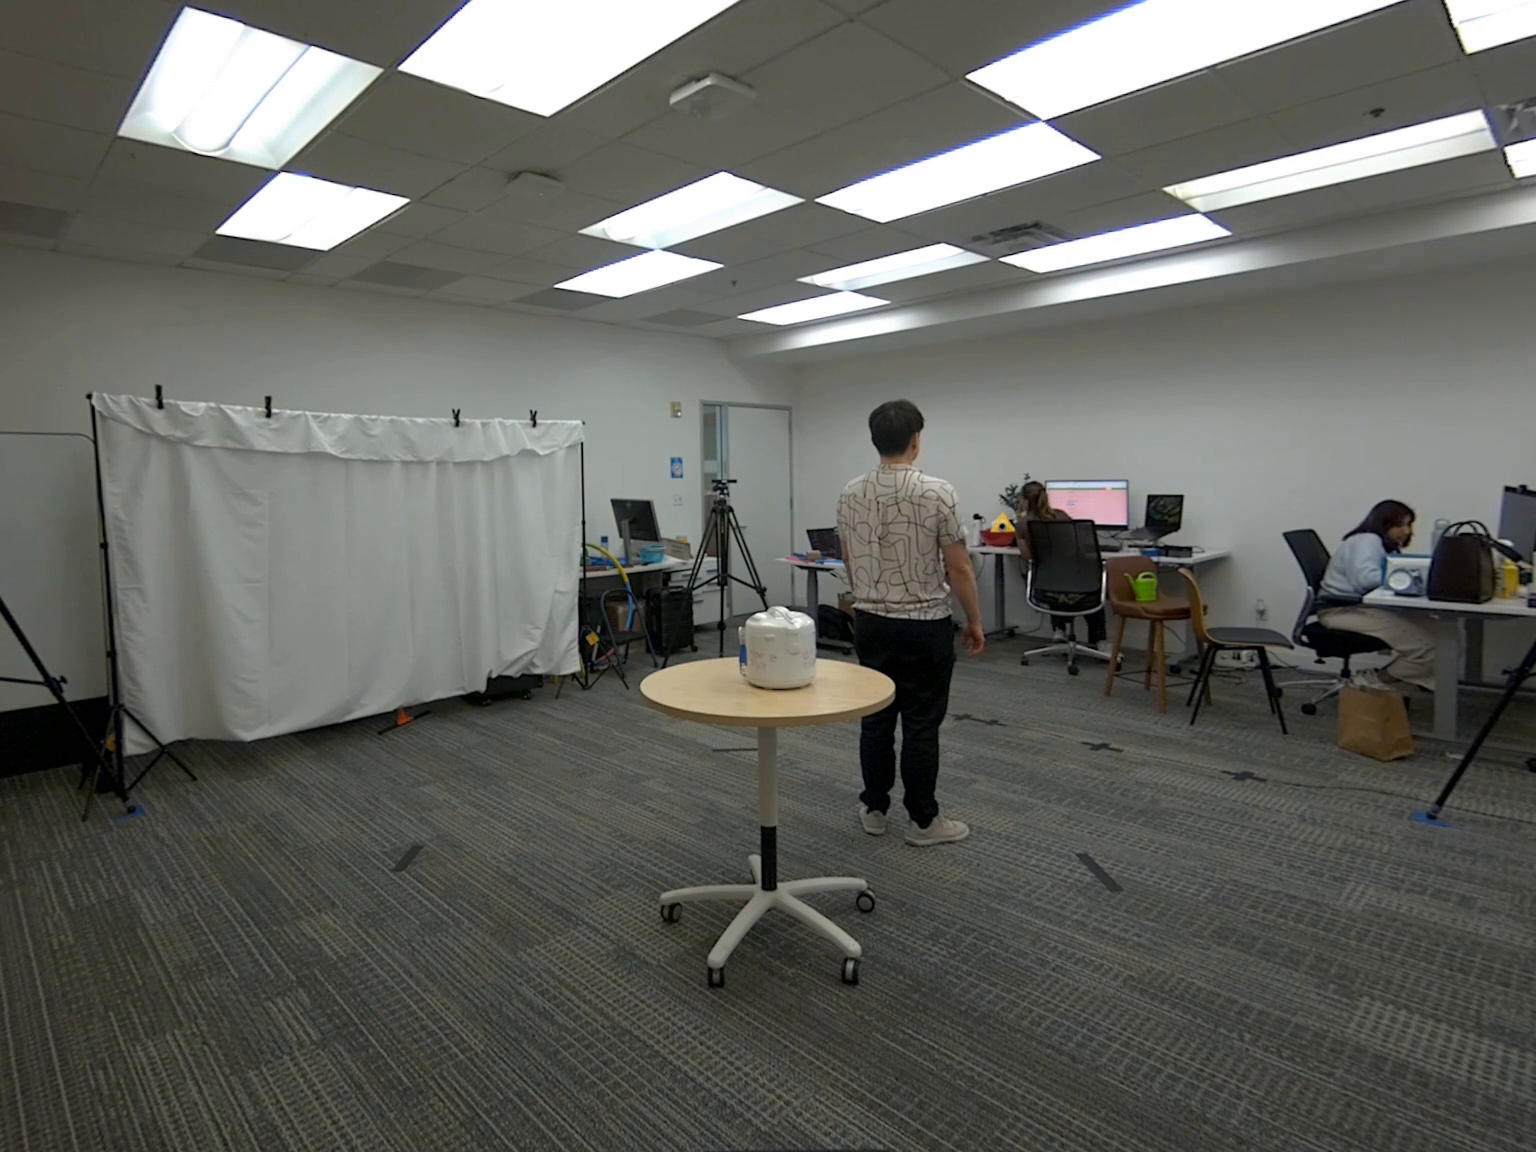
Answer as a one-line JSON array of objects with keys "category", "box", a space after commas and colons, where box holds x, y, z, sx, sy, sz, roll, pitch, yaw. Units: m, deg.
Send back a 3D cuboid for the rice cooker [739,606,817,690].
[{"category": "rice cooker", "box": [0.038, 0.208, 2.570, 0.214, 0.231, 0.225, -3, 6, -19]}]
